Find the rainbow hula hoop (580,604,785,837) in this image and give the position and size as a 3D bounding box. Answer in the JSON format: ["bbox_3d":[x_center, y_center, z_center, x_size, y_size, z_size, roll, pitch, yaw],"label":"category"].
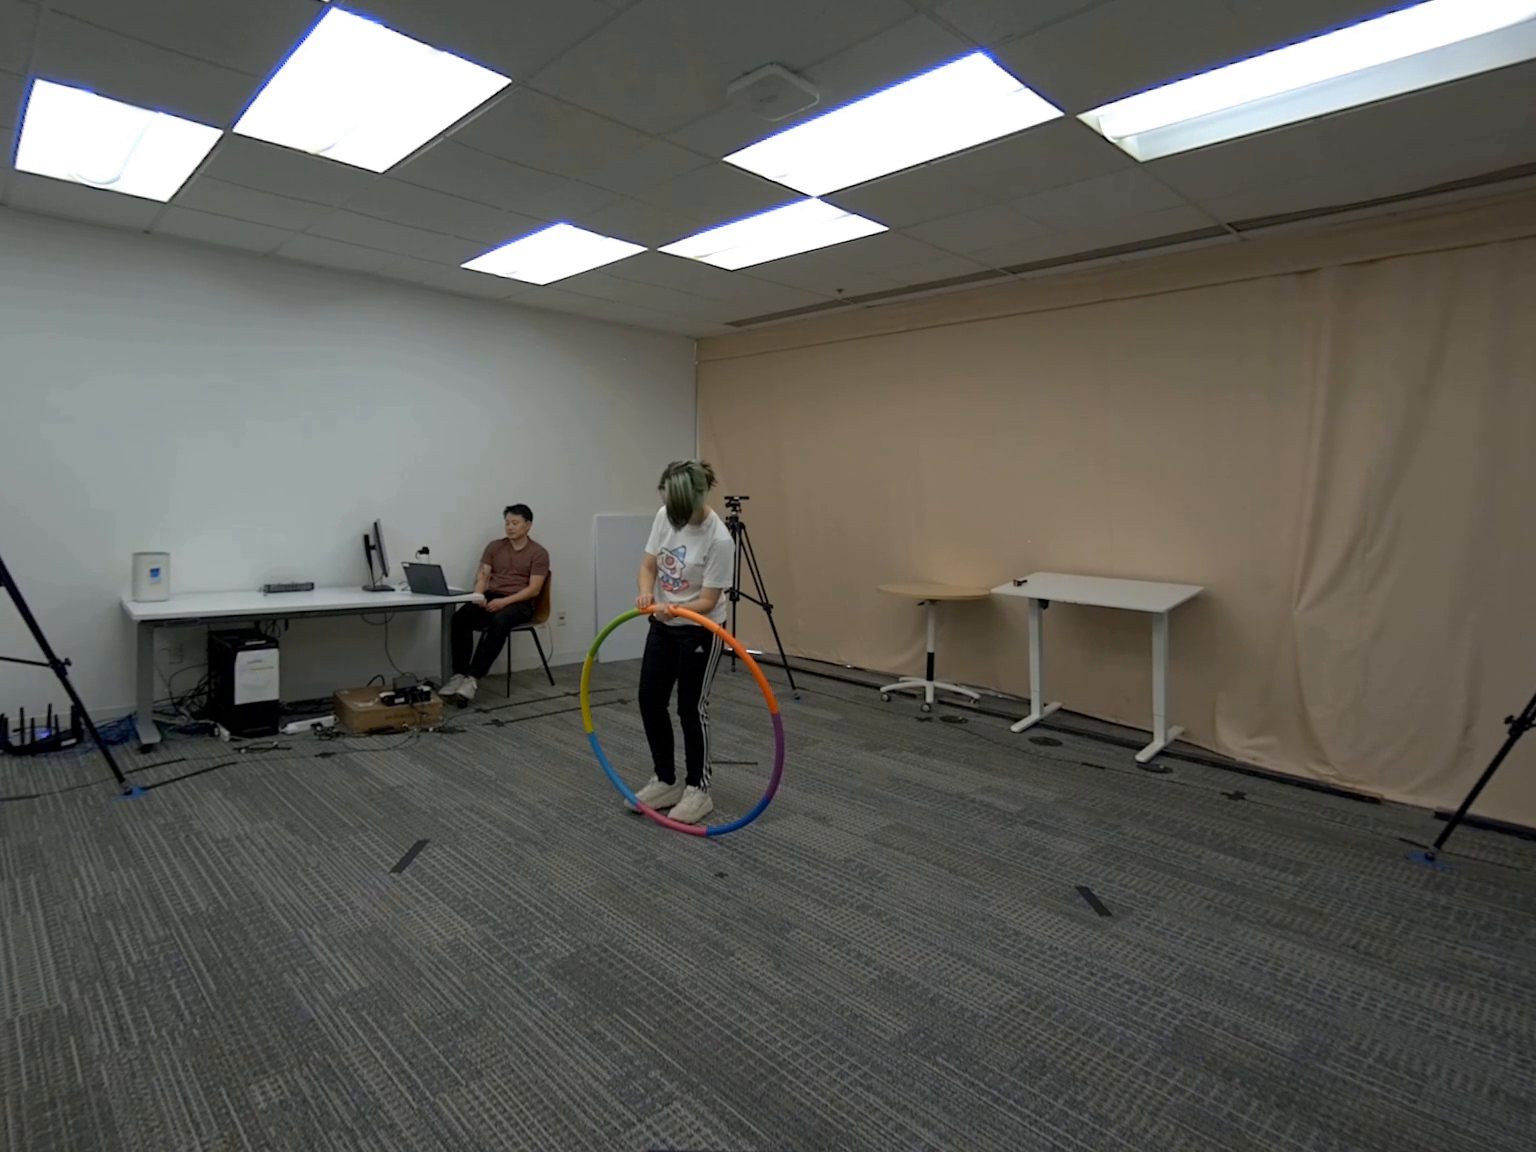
[{"bbox_3d":[-0.379,0.594,3.394,1.000,0.969,0.035,4,15,31],"label":"rainbow hula hoop"}]
